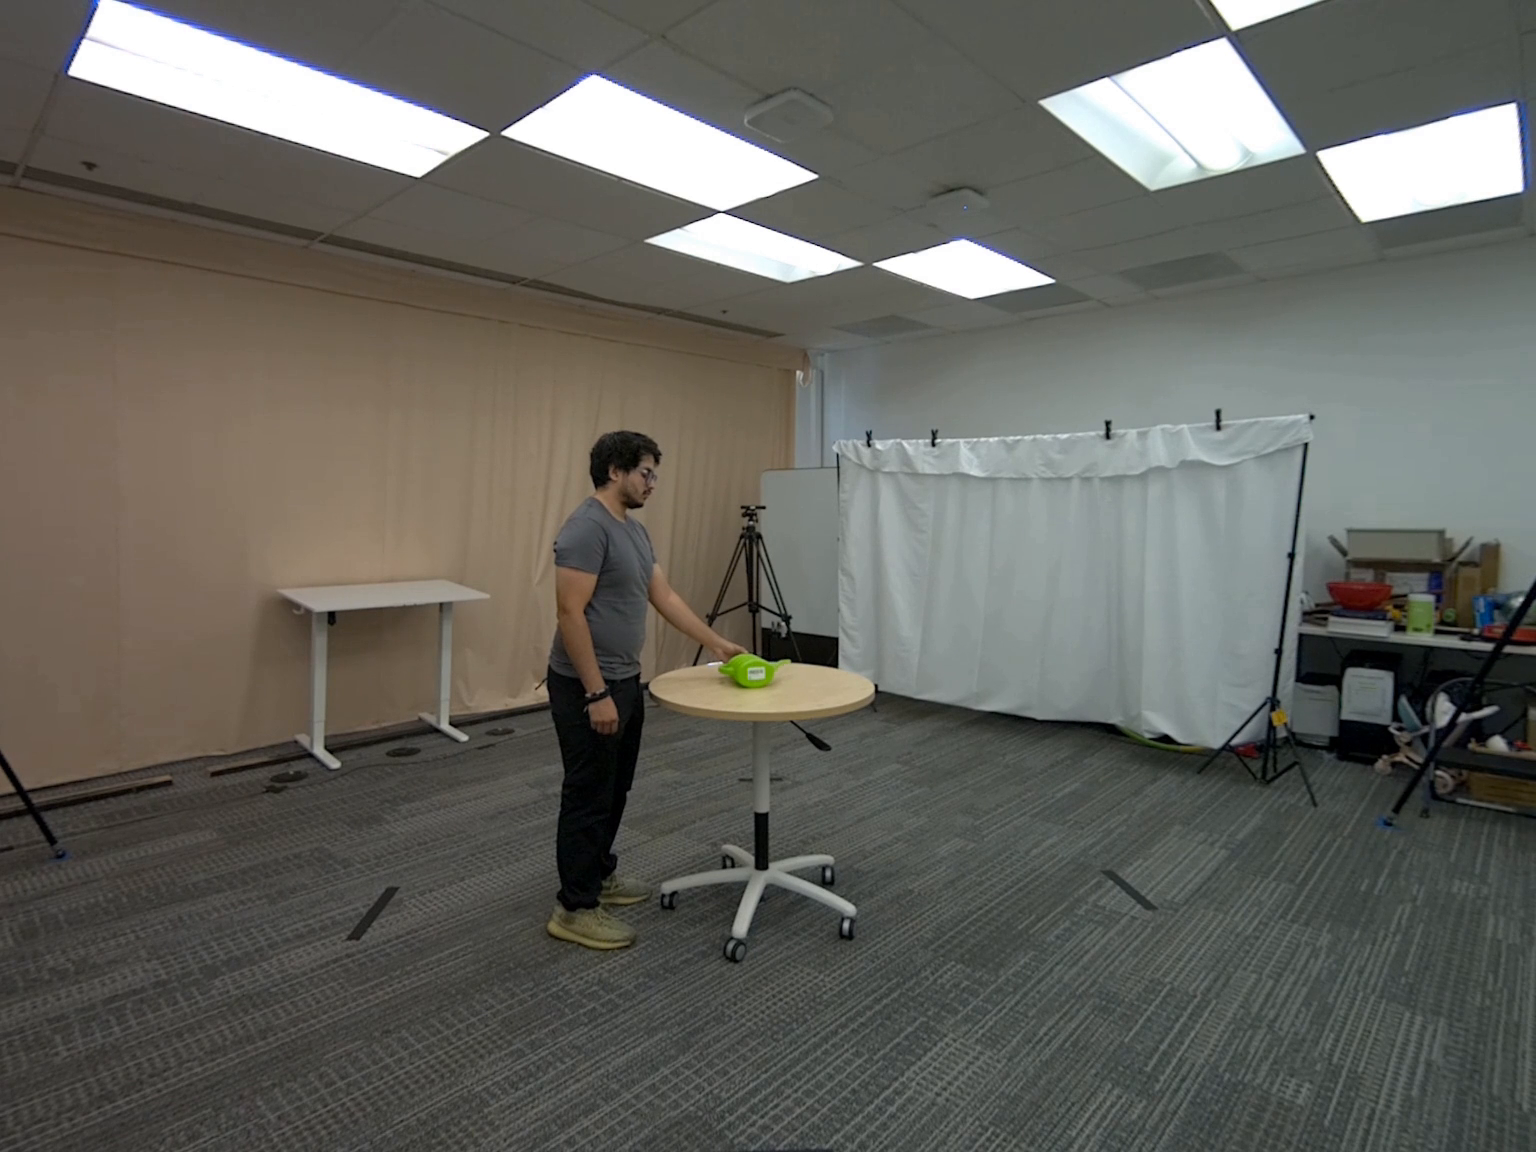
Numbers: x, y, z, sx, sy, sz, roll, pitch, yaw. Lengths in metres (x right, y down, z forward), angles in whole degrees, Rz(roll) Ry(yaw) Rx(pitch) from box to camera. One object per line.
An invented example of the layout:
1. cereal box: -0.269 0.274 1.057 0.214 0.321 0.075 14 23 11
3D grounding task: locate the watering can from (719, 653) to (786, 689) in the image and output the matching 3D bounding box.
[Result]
1. watering can: -0.030 0.312 2.892 0.274 0.097 0.180 -15 9 -16
